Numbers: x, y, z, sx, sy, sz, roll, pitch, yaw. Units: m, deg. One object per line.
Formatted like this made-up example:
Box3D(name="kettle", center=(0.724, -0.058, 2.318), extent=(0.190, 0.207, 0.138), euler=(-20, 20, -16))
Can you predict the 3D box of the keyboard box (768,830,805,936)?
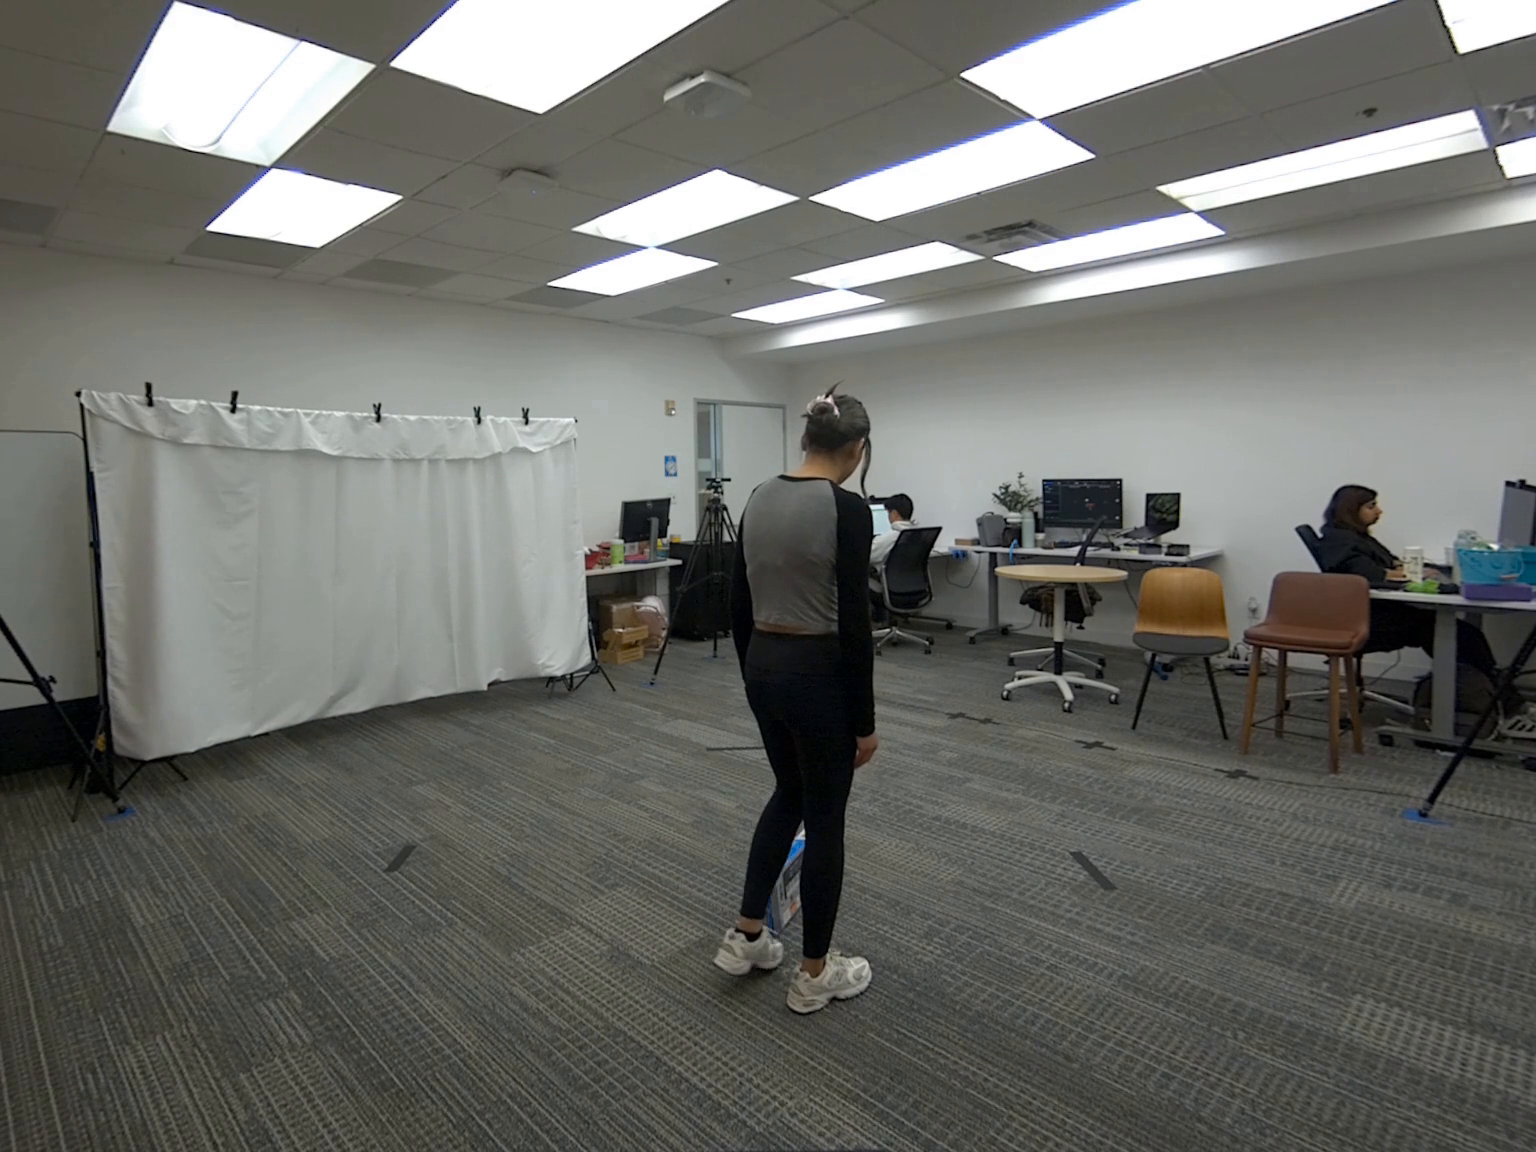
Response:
Box3D(name="keyboard box", center=(0.076, 0.991, 2.783), extent=(0.060, 0.175, 0.429), euler=(-6, 4, 24))
